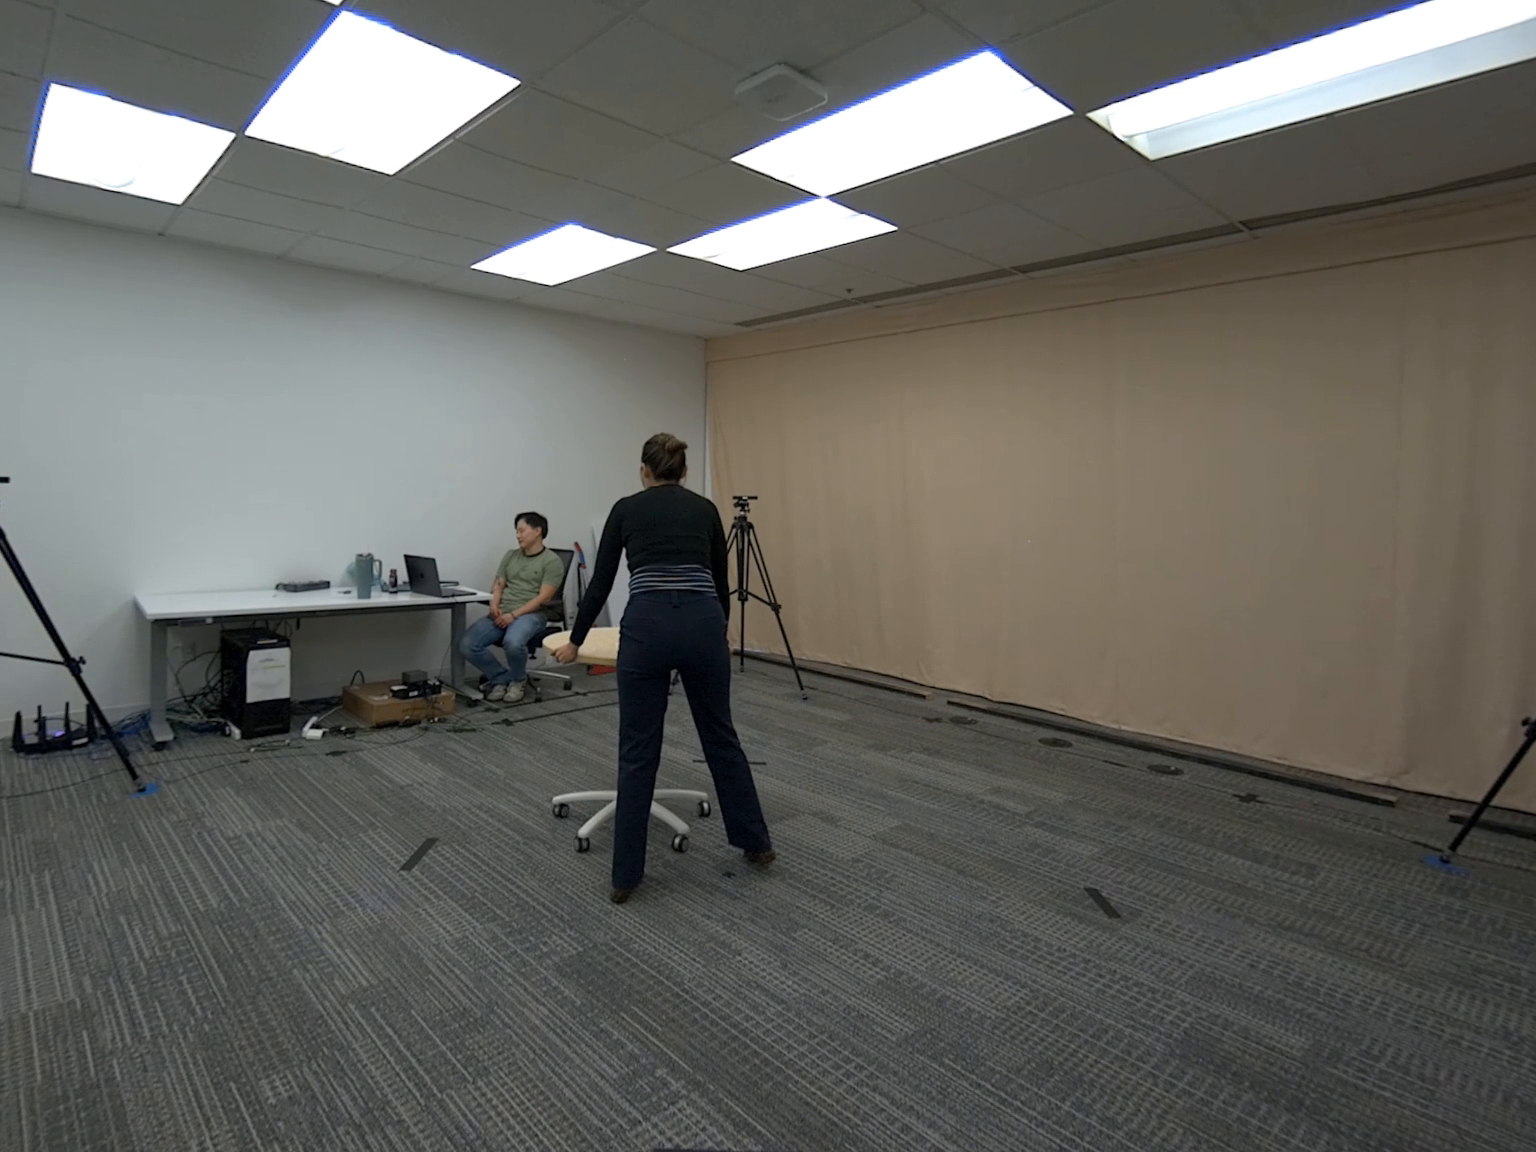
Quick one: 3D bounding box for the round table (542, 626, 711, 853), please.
[{"bbox_3d":[-0.566,0.667,3.533,0.763,0.792,0.766,2,4,-1],"label":"round table"}]
